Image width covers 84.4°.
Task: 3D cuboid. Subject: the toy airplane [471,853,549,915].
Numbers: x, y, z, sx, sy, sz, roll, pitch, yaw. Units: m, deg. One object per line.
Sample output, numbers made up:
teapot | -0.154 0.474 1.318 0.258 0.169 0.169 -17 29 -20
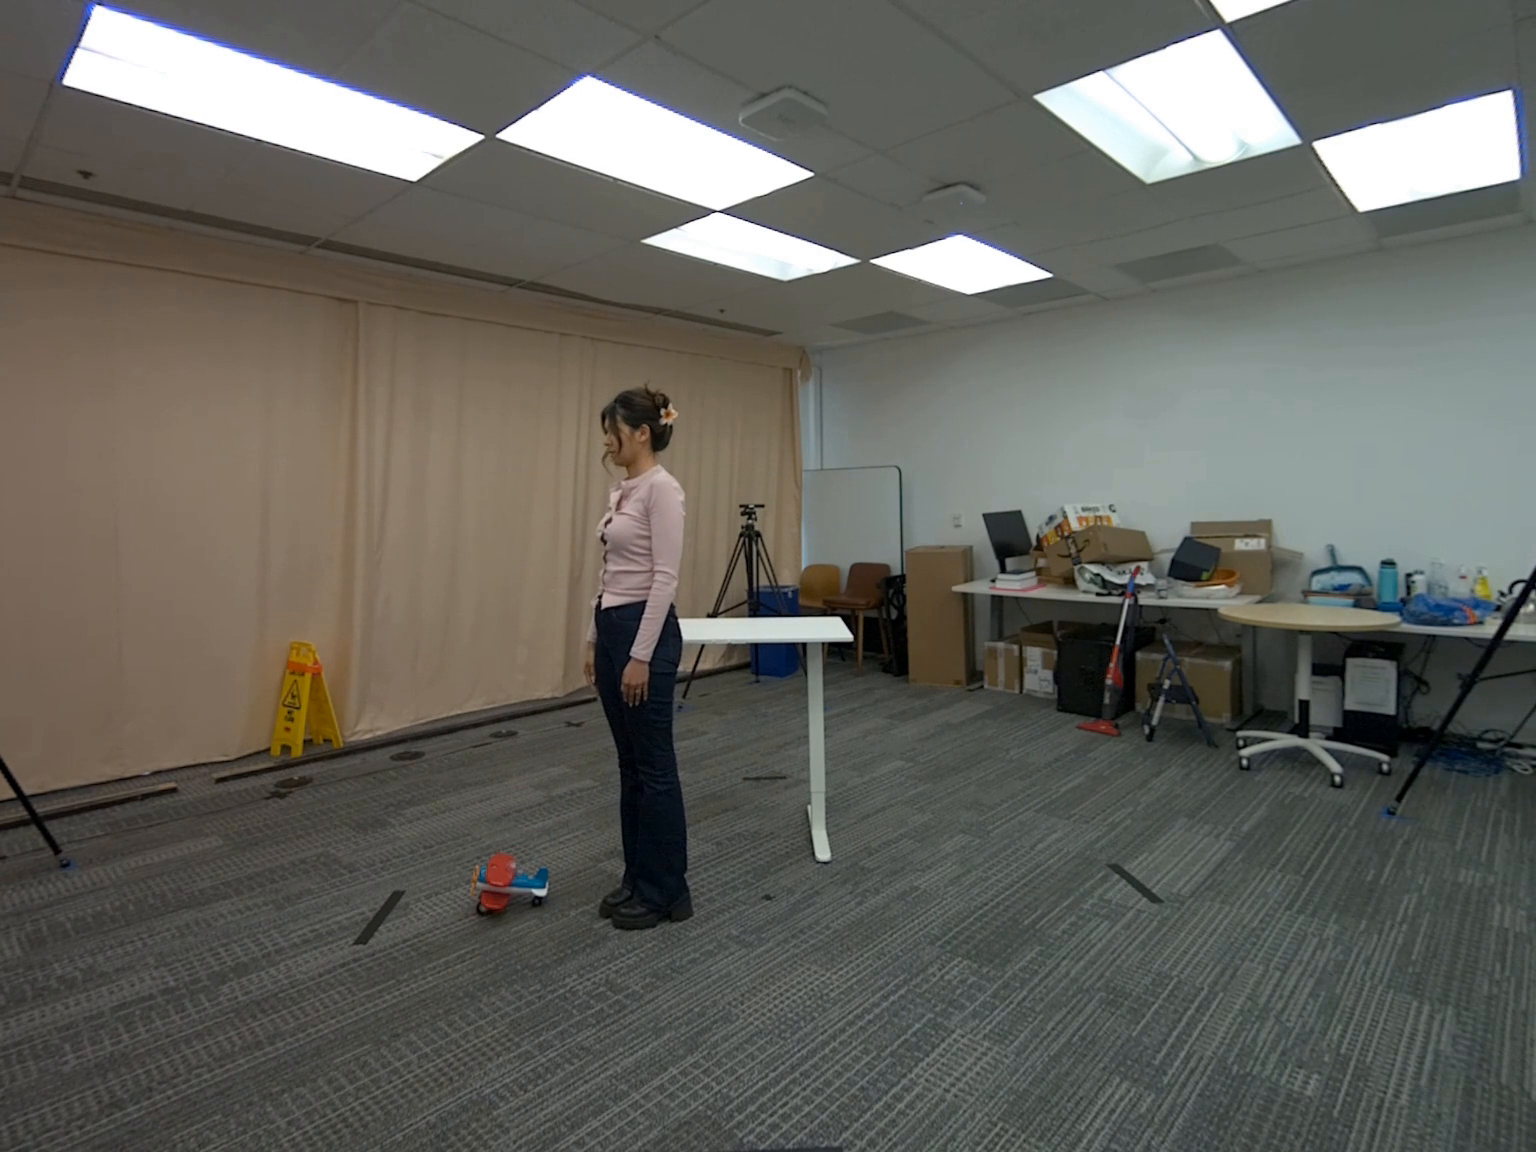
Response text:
toy airplane | -0.912 1.094 2.973 0.251 0.156 0.259 -4 4 -37
